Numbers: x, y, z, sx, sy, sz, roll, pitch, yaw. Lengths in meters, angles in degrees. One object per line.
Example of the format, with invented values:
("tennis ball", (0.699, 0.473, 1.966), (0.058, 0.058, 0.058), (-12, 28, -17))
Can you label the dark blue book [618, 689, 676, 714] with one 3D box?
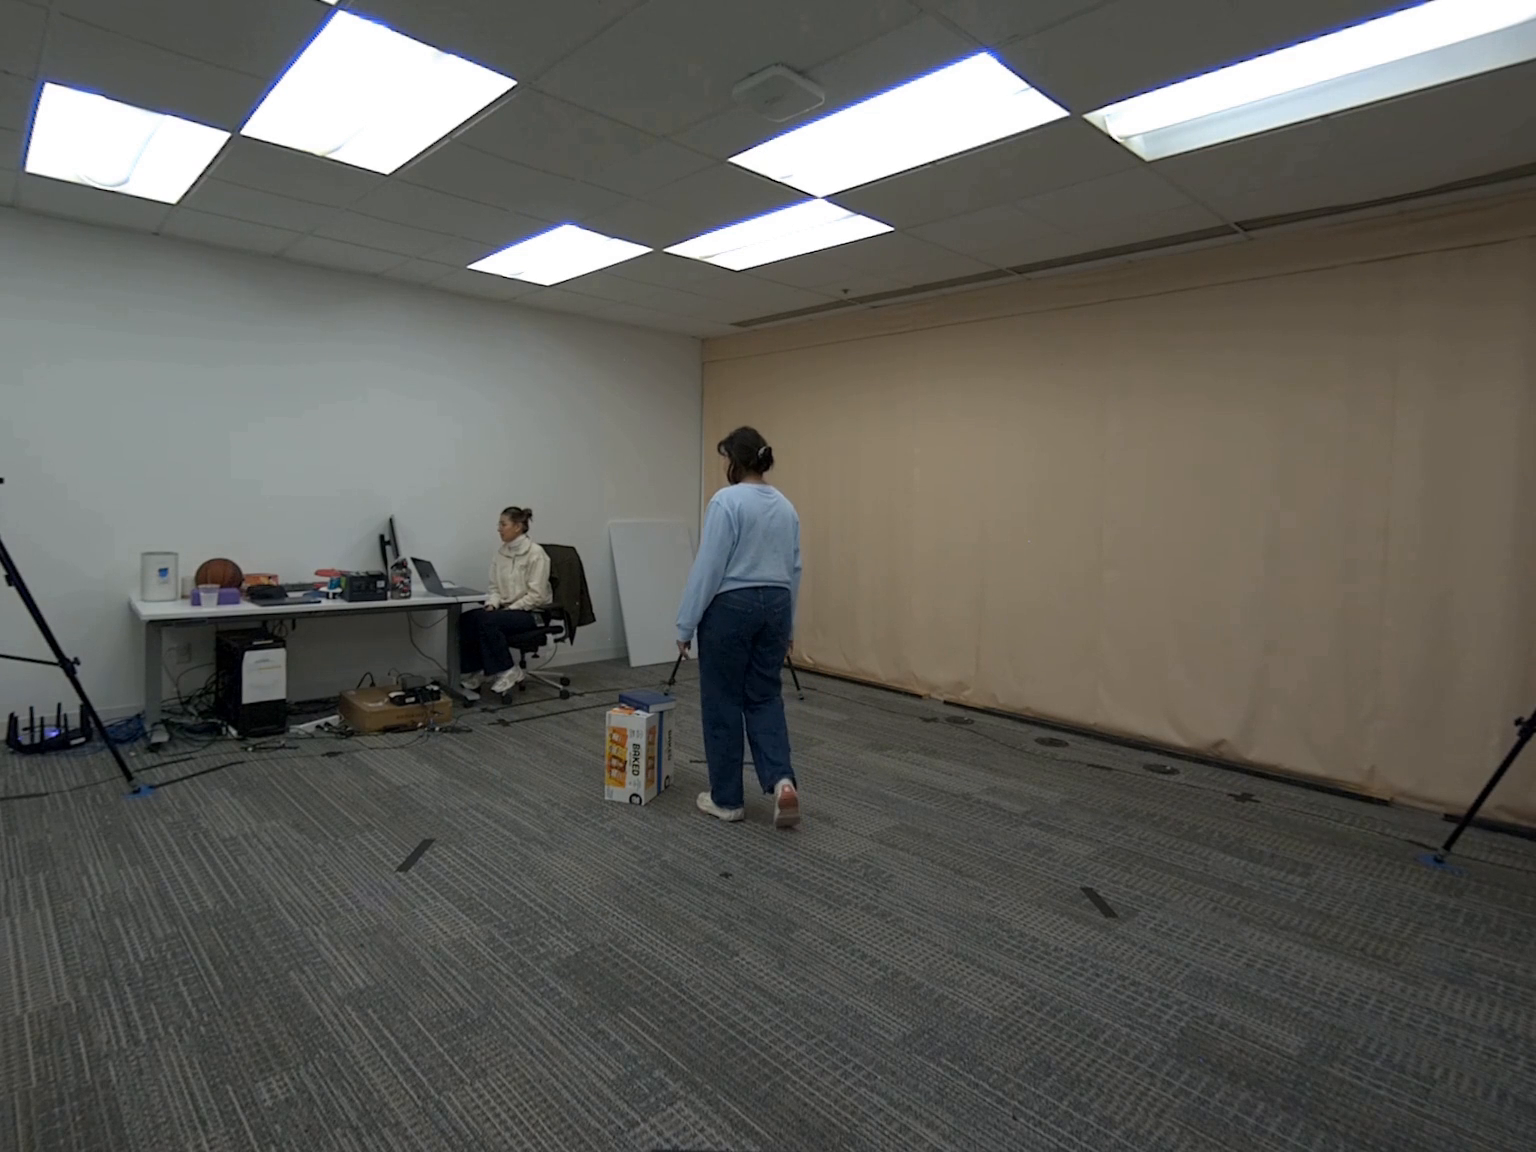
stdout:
("dark blue book", (-0.575, 0.587, 3.984), (0.159, 0.045, 0.251), (-2, 7, -45))
